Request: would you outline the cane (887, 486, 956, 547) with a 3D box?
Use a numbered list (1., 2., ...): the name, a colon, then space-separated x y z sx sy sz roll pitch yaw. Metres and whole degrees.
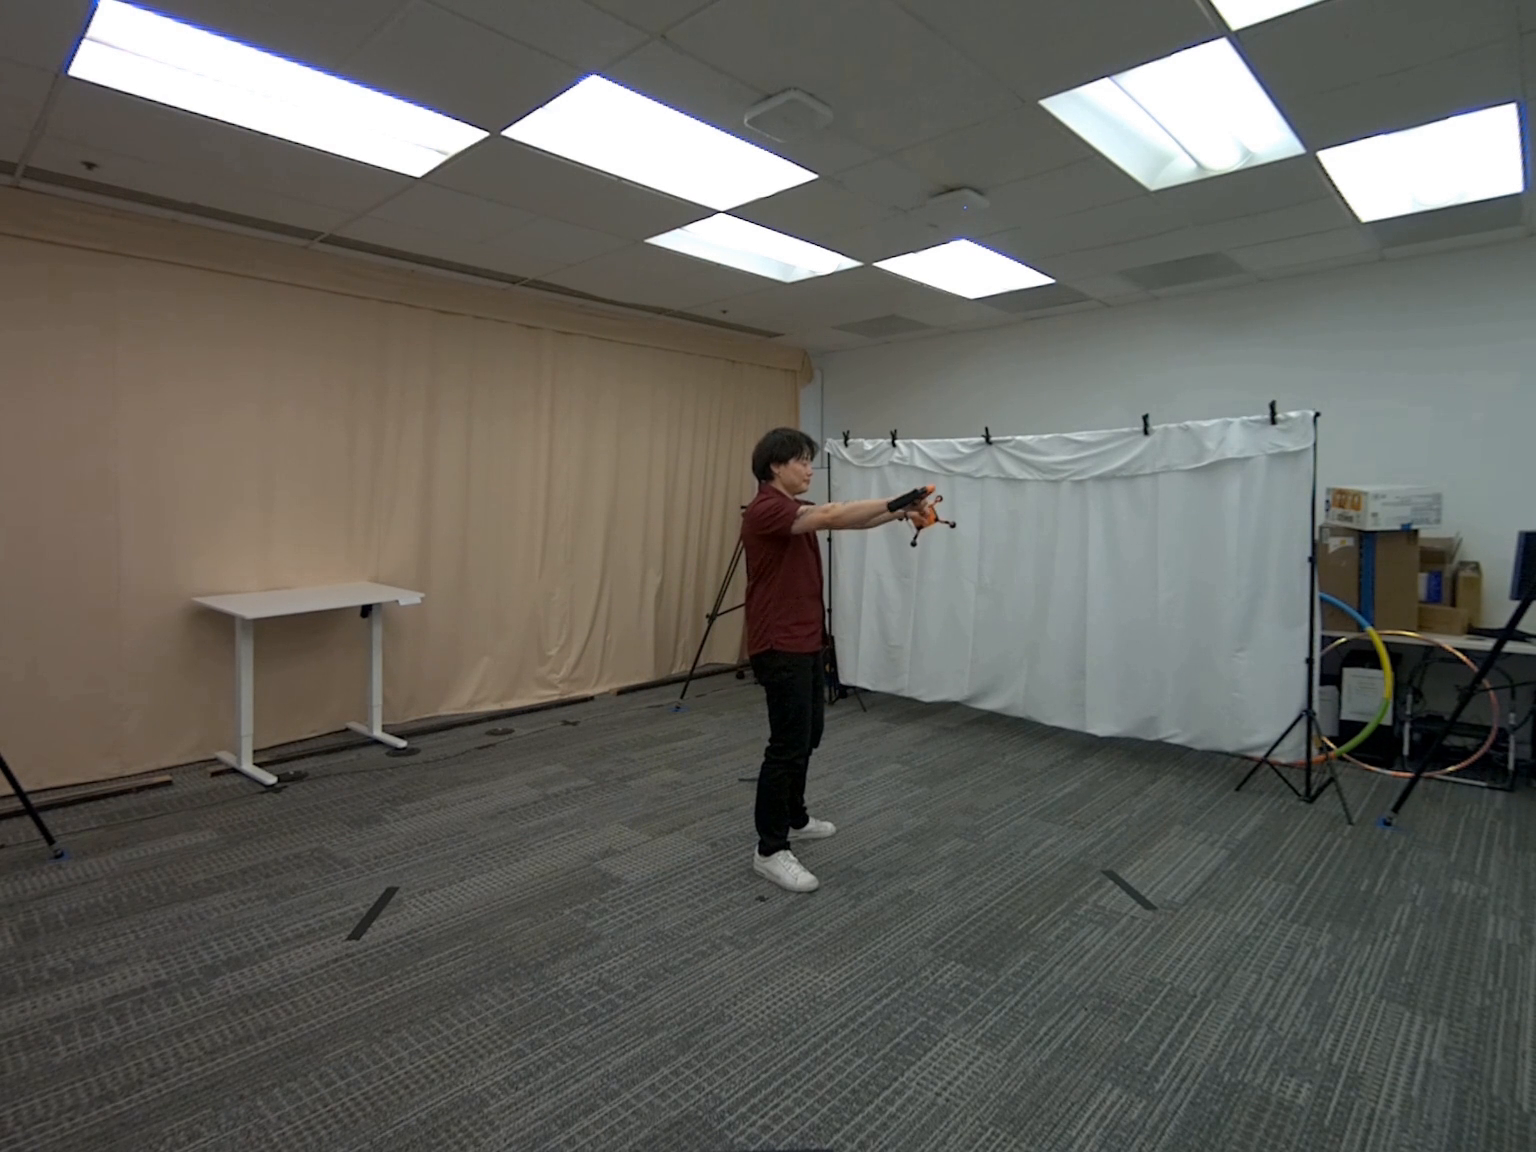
1. cane: 0.577 -0.220 3.084 0.208 0.153 0.891 -25 -8 11
